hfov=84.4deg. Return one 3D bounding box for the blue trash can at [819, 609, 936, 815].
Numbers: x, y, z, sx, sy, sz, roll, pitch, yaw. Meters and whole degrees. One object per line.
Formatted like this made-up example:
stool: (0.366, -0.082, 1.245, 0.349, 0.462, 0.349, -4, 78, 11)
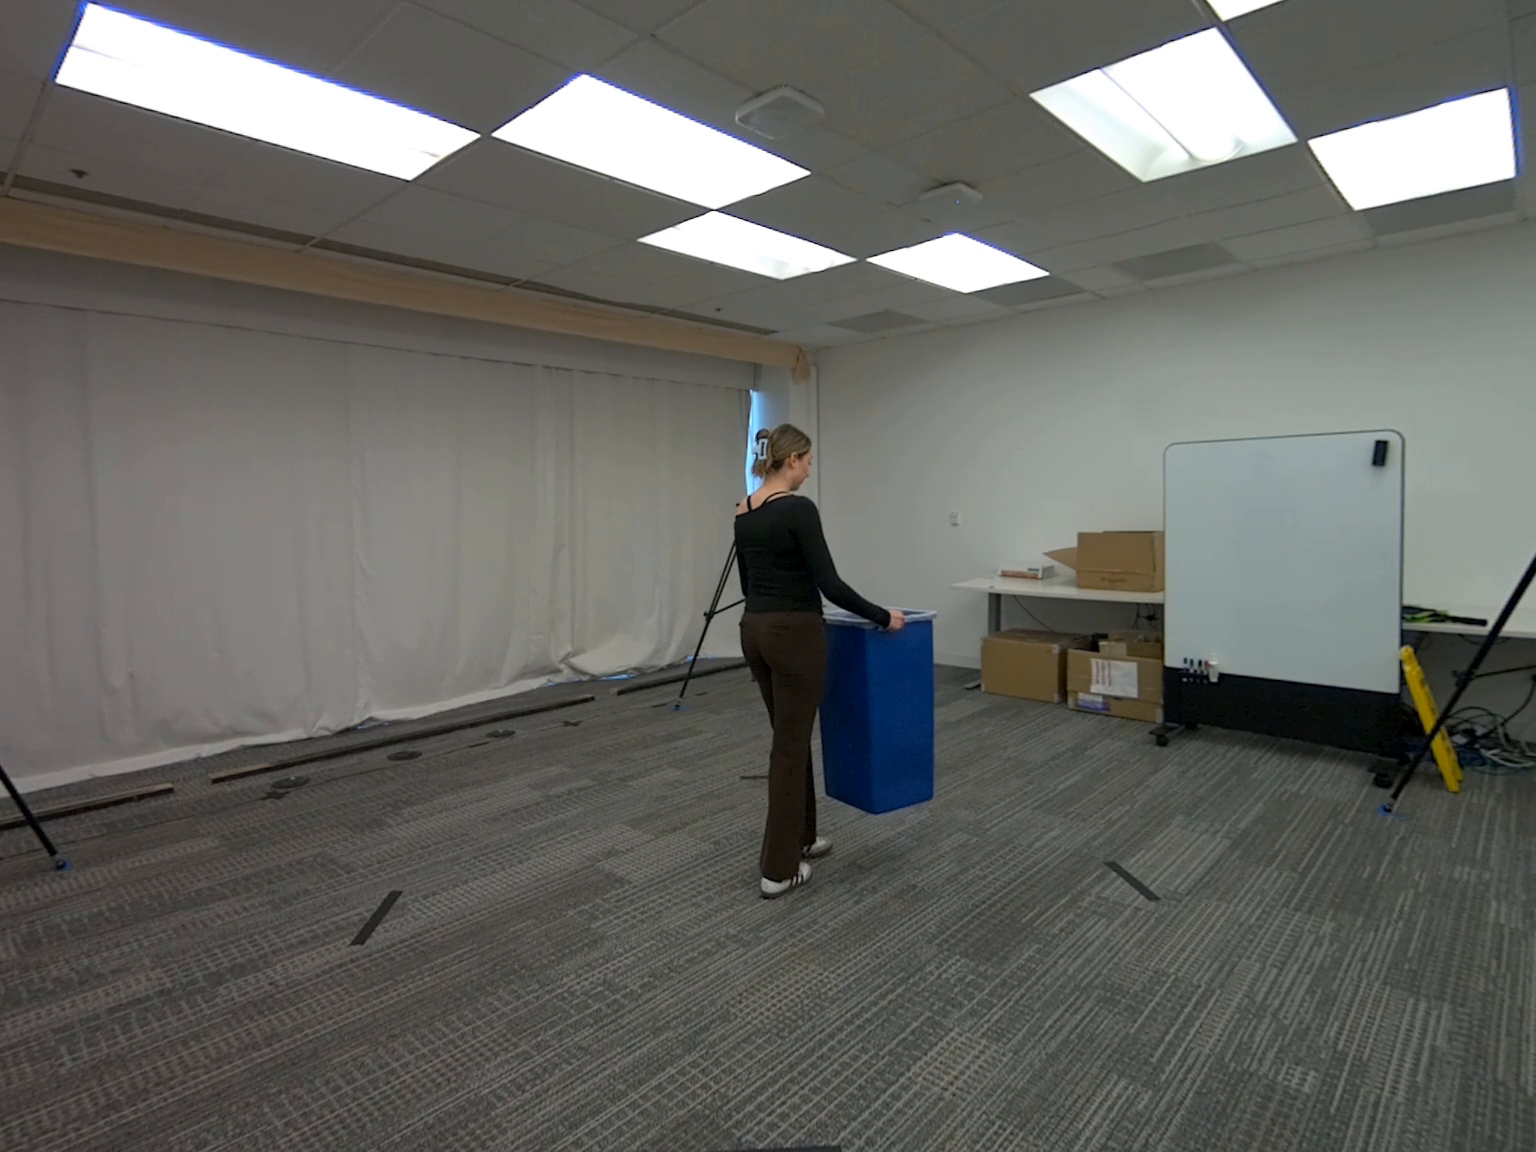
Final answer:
blue trash can: (0.420, 0.502, 3.264, 0.368, 0.712, 0.385, -3, 3, -31)
